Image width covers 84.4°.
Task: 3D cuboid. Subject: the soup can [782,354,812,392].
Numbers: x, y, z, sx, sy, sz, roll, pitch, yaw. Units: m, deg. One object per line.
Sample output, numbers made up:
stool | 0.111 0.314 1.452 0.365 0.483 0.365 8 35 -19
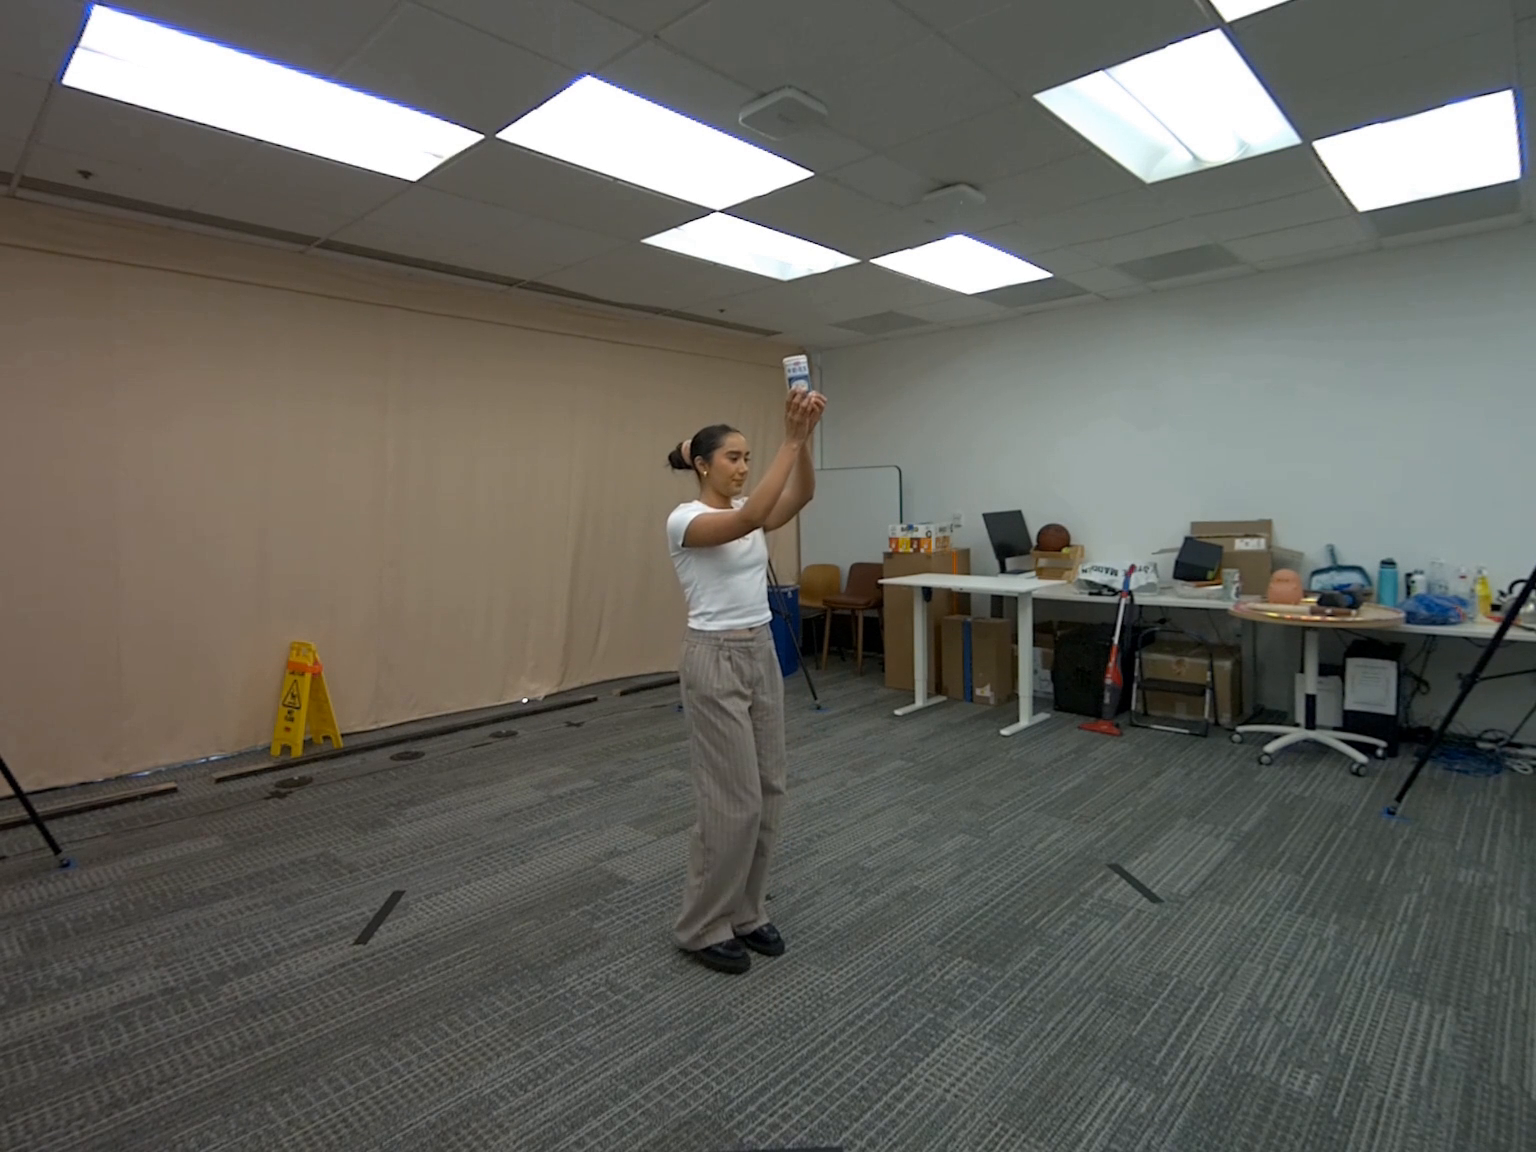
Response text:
soup can | 0.084 -0.544 2.308 0.067 0.121 0.067 -8 8 -1
